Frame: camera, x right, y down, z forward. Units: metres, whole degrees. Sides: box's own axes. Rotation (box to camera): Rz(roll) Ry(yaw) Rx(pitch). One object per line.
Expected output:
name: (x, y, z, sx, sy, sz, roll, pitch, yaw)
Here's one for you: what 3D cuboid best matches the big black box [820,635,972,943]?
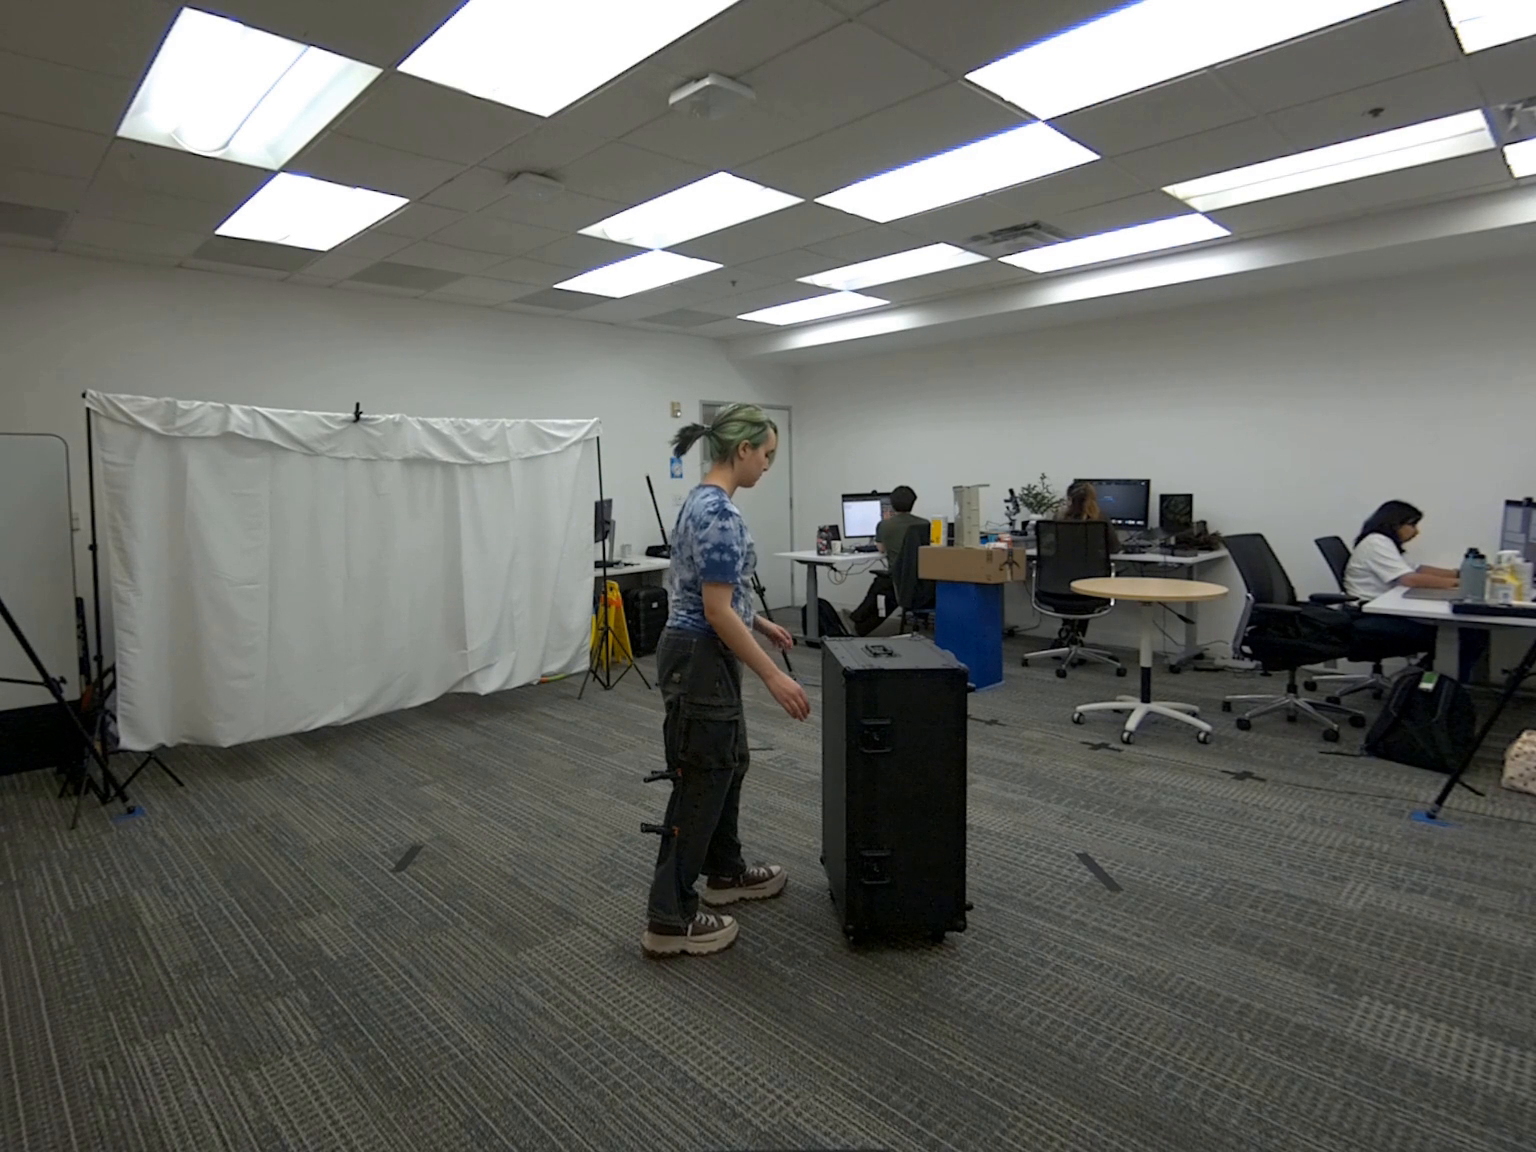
big black box: (0.390, 0.662, 2.705, 0.395, 0.858, 0.525, -1, 4, -4)
